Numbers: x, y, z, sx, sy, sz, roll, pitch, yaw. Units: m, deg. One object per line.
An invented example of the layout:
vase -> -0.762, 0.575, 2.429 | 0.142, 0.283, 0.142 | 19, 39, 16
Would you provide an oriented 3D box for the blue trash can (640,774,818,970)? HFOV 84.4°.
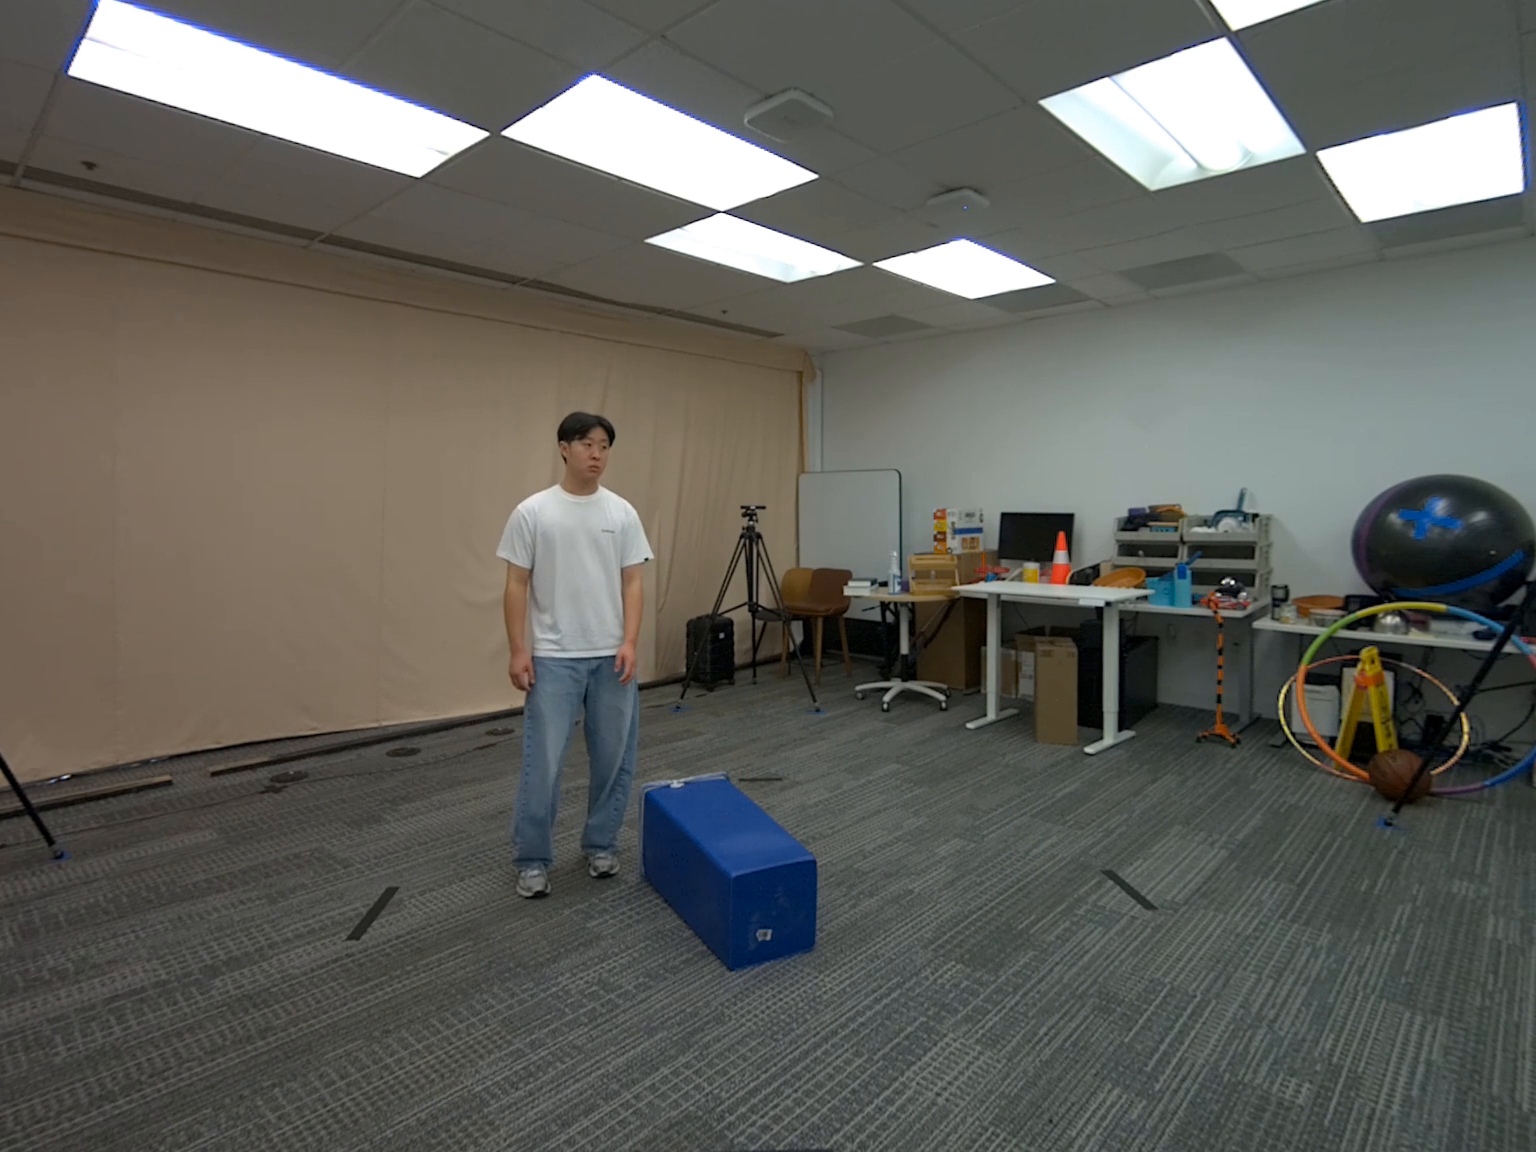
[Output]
blue trash can -> -0.138, 0.991, 2.878 | 0.365, 0.377, 0.734 | -2, 7, -28
